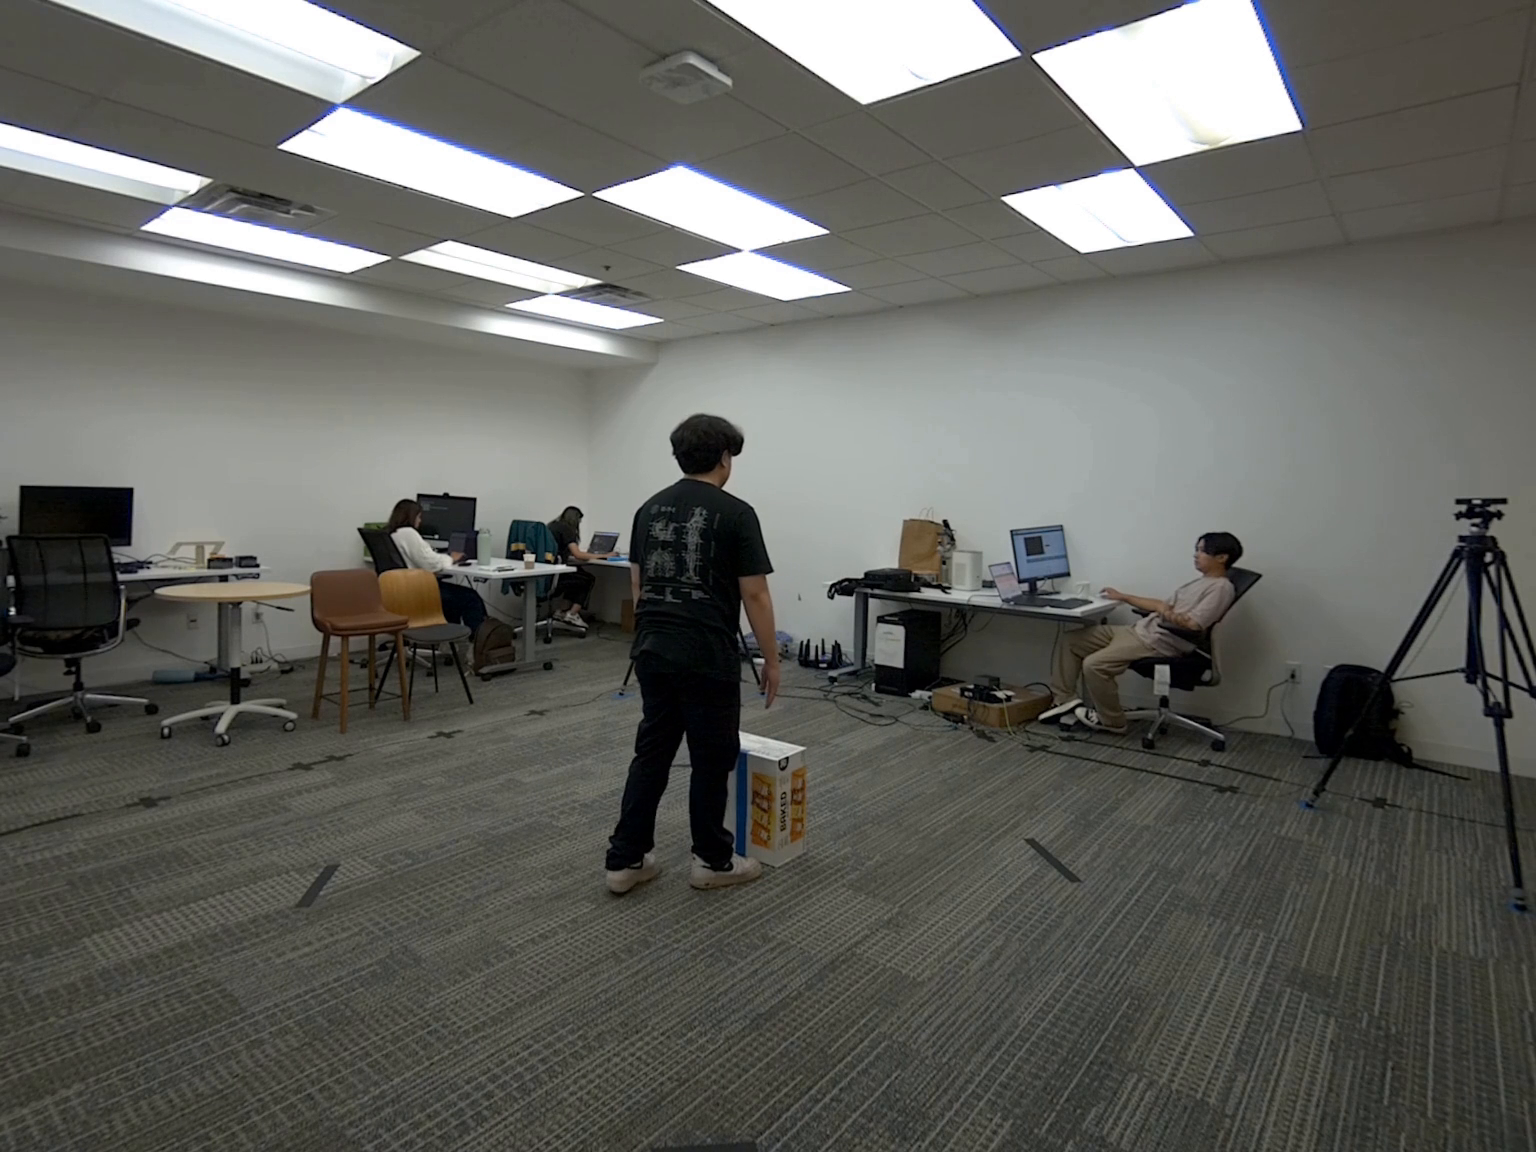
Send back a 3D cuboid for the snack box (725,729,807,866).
[{"bbox_3d":[-0.053,0.850,3.291,0.351,0.404,0.199,4,4,38],"label":"snack box"}]
